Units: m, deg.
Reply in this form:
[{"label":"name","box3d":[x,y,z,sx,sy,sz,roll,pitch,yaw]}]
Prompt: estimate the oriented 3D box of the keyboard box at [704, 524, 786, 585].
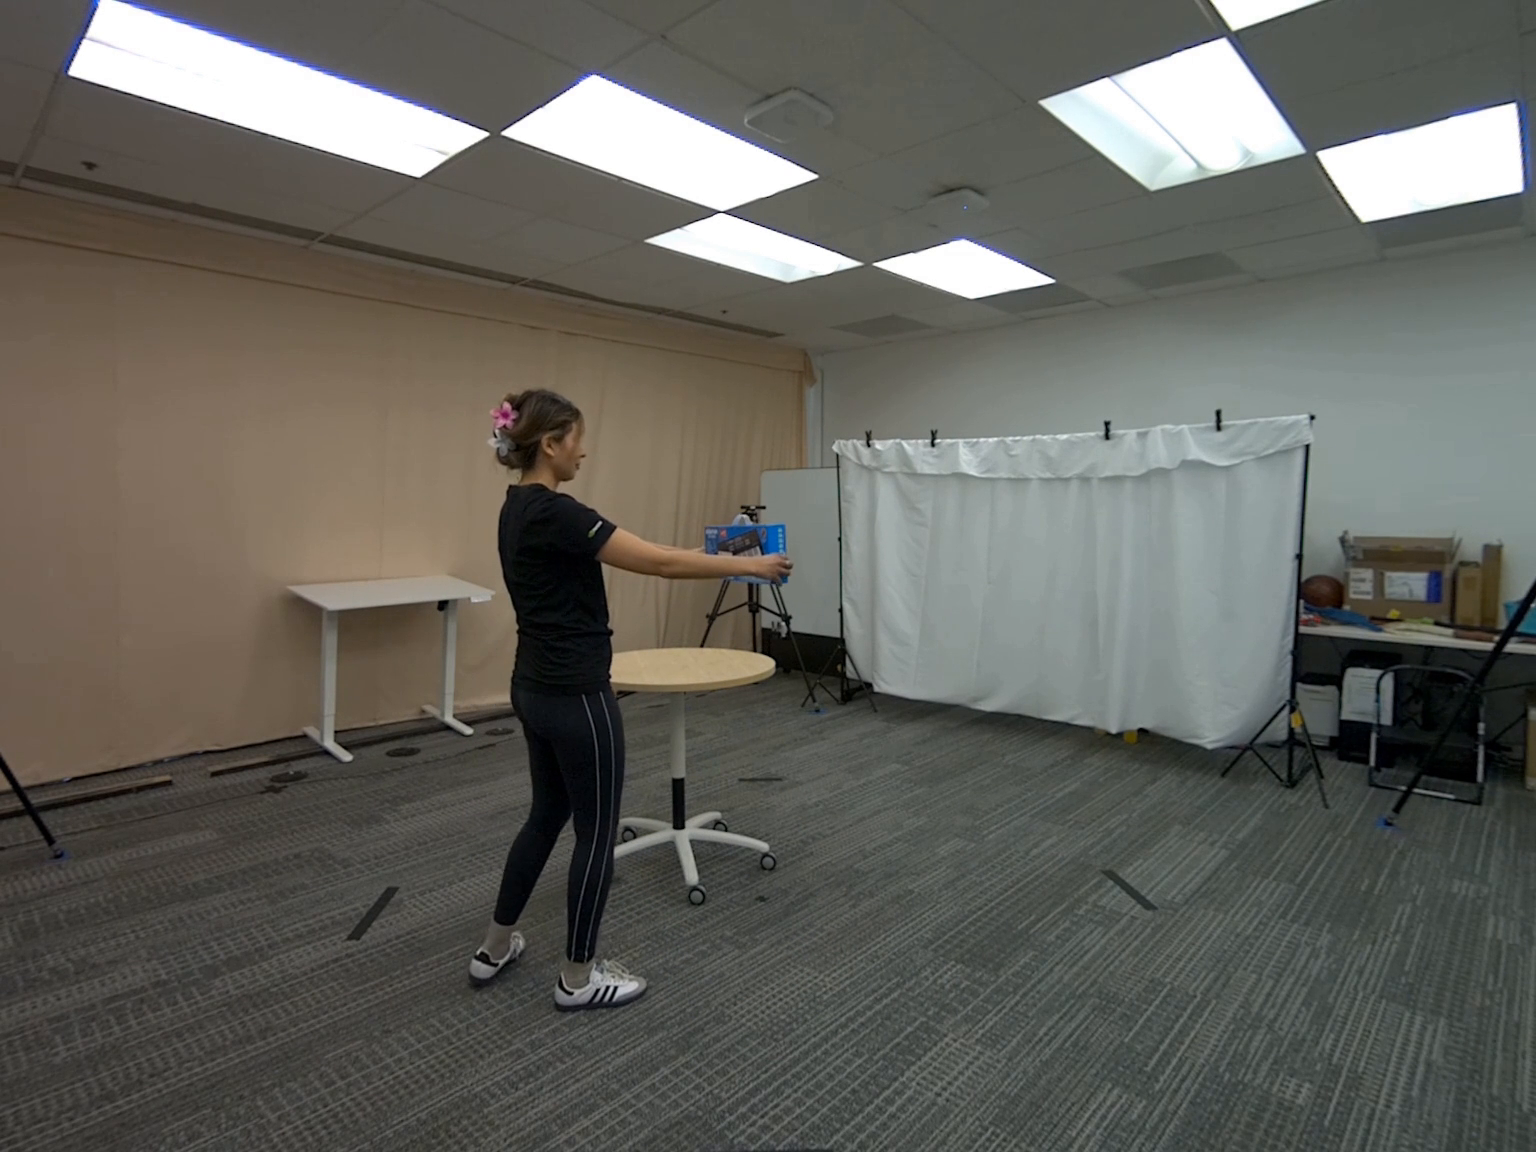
[{"label":"keyboard box","box3d":[-0.078,-0.068,2.598,0.058,0.175,0.448,-4,4,-27]}]
